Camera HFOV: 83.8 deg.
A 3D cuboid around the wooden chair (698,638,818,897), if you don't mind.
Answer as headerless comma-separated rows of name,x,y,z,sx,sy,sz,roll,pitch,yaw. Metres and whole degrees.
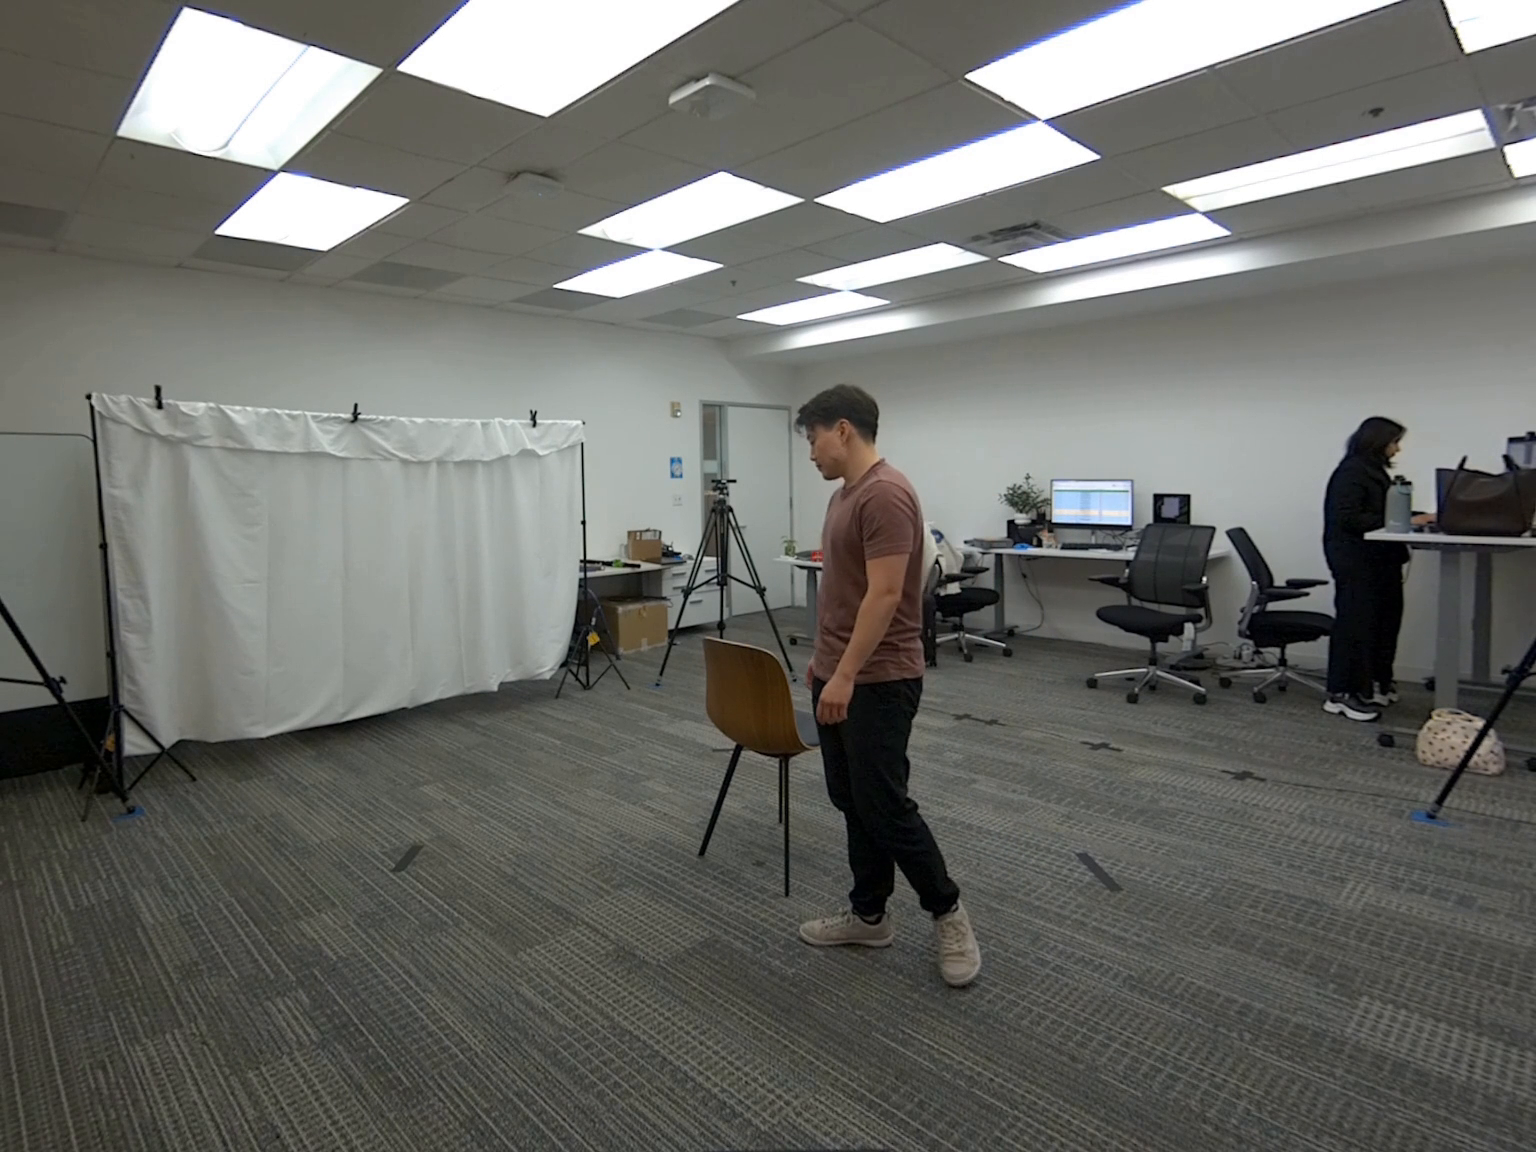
wooden chair,0.057,0.614,3.147,0.493,0.872,0.511,3,10,44
